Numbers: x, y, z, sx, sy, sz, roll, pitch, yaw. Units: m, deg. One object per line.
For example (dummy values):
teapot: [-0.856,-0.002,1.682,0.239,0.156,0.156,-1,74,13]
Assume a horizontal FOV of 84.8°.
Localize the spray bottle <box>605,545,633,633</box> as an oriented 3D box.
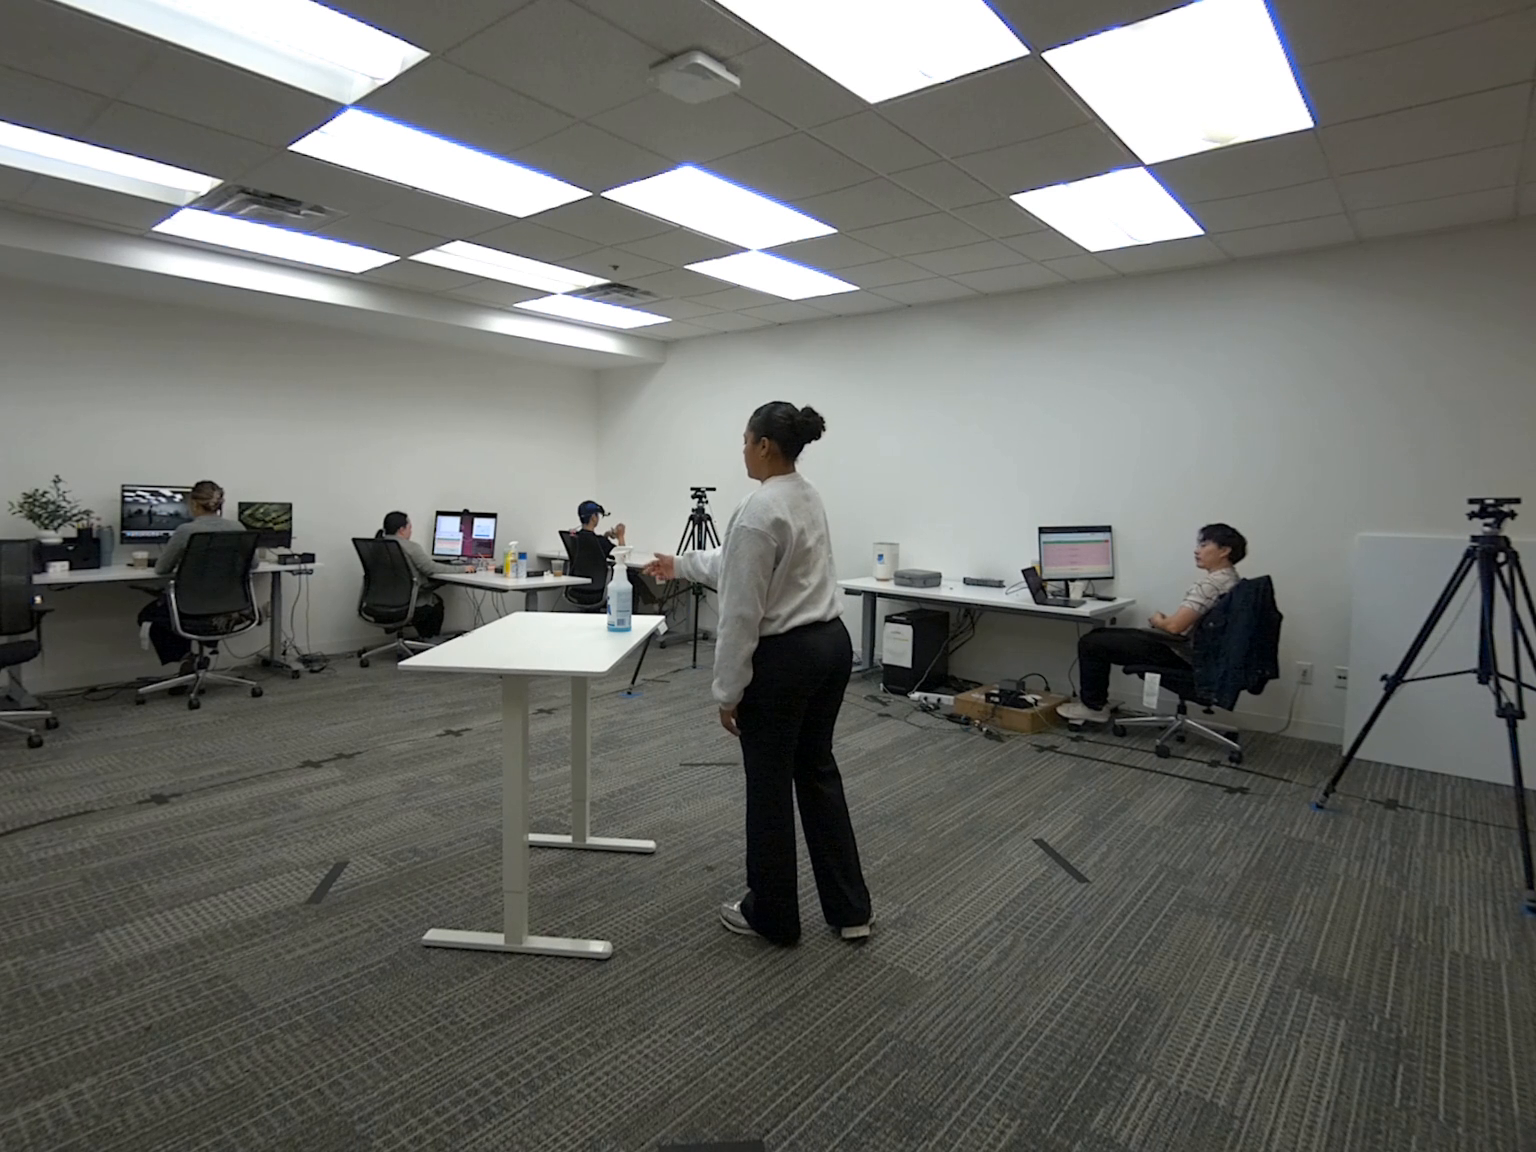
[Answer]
spray bottle: [-0.536,0.044,2.985,0.084,0.296,0.093,-3,5,-43]
